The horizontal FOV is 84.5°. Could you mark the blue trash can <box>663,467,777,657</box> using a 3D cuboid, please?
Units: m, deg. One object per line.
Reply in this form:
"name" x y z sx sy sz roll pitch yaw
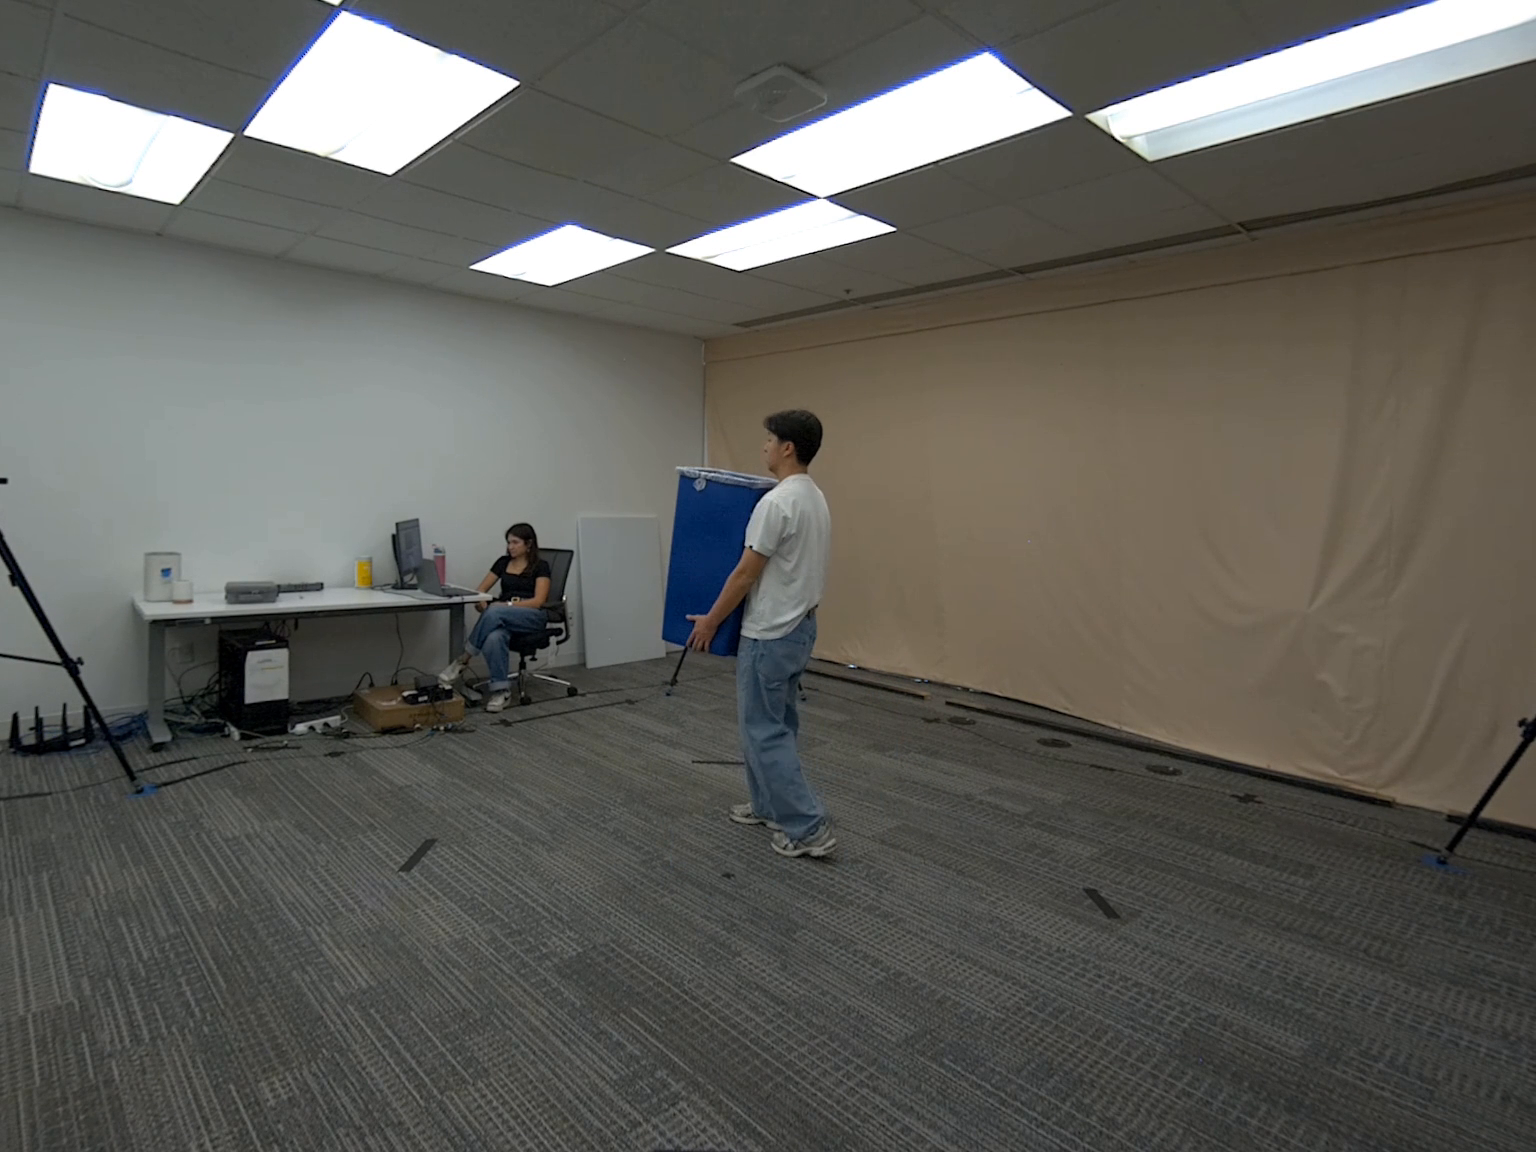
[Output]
"blue trash can" -0.198 -0.073 3.501 0.386 0.710 0.368 13 9 22
